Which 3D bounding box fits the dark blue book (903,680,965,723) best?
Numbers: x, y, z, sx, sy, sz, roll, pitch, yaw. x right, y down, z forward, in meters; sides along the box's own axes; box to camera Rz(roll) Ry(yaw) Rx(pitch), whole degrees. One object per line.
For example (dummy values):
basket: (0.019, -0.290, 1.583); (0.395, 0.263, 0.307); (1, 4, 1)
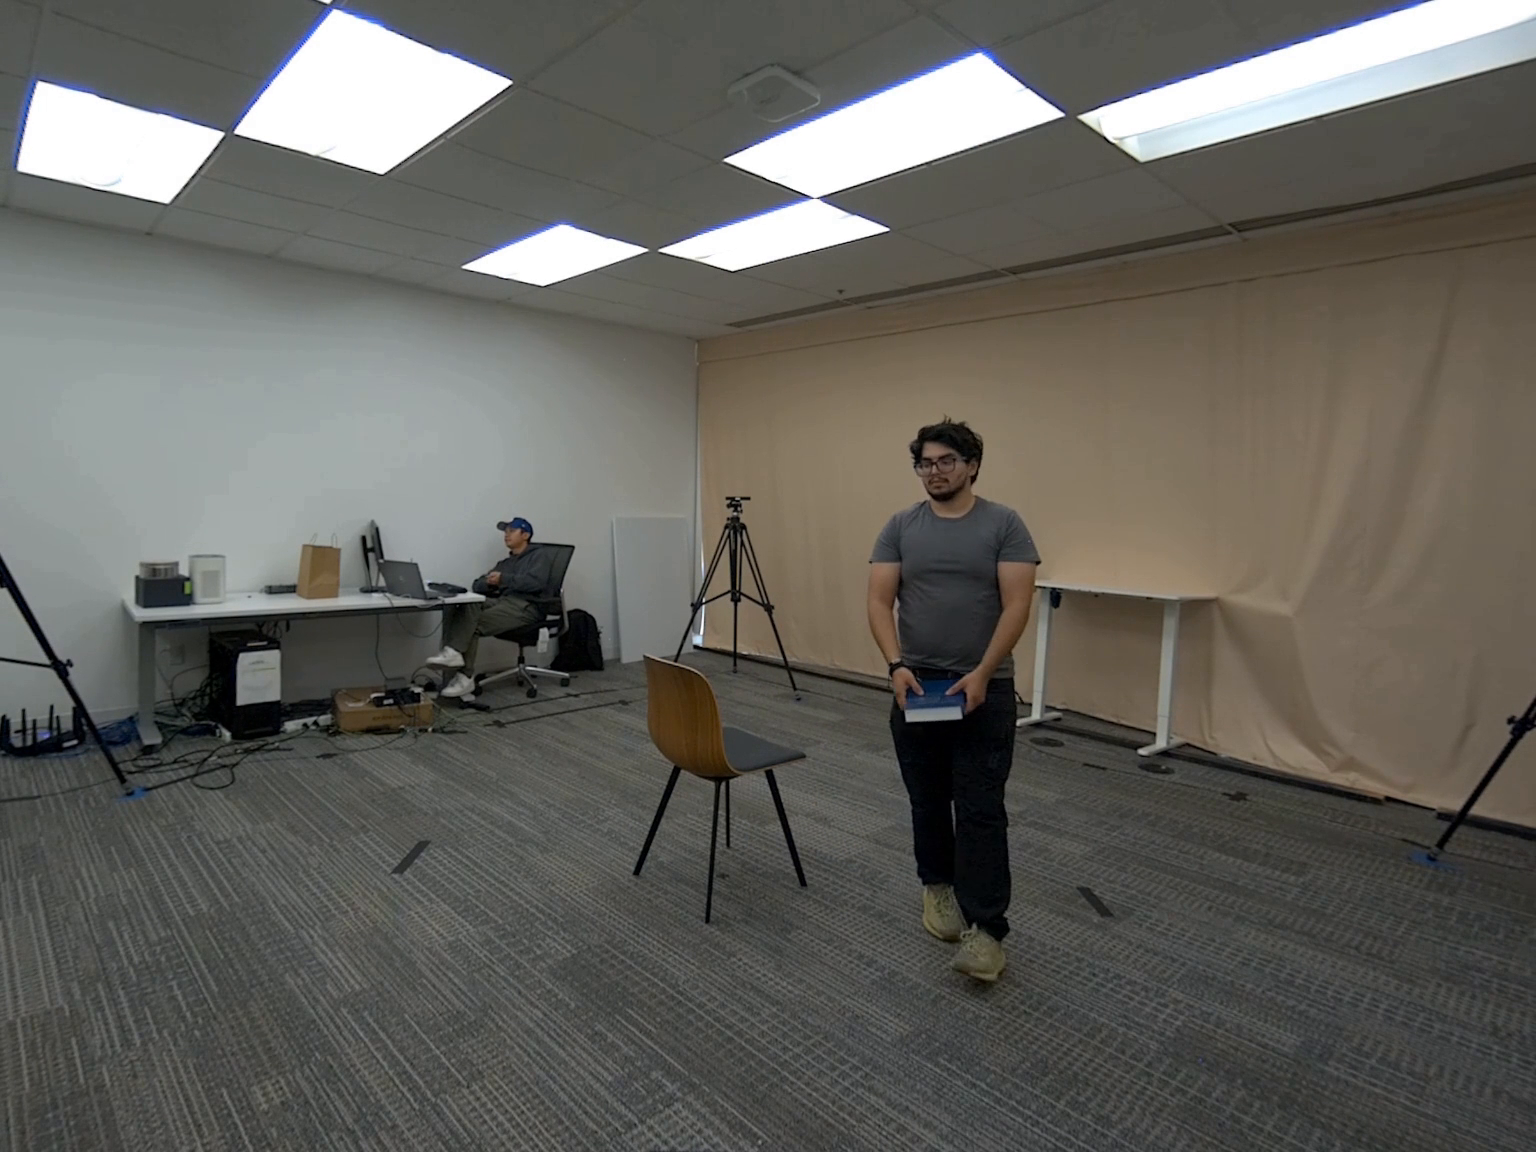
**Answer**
dark blue book: (0.492, 0.368, 2.441); (0.165, 0.045, 0.243); (-7, 7, 18)
